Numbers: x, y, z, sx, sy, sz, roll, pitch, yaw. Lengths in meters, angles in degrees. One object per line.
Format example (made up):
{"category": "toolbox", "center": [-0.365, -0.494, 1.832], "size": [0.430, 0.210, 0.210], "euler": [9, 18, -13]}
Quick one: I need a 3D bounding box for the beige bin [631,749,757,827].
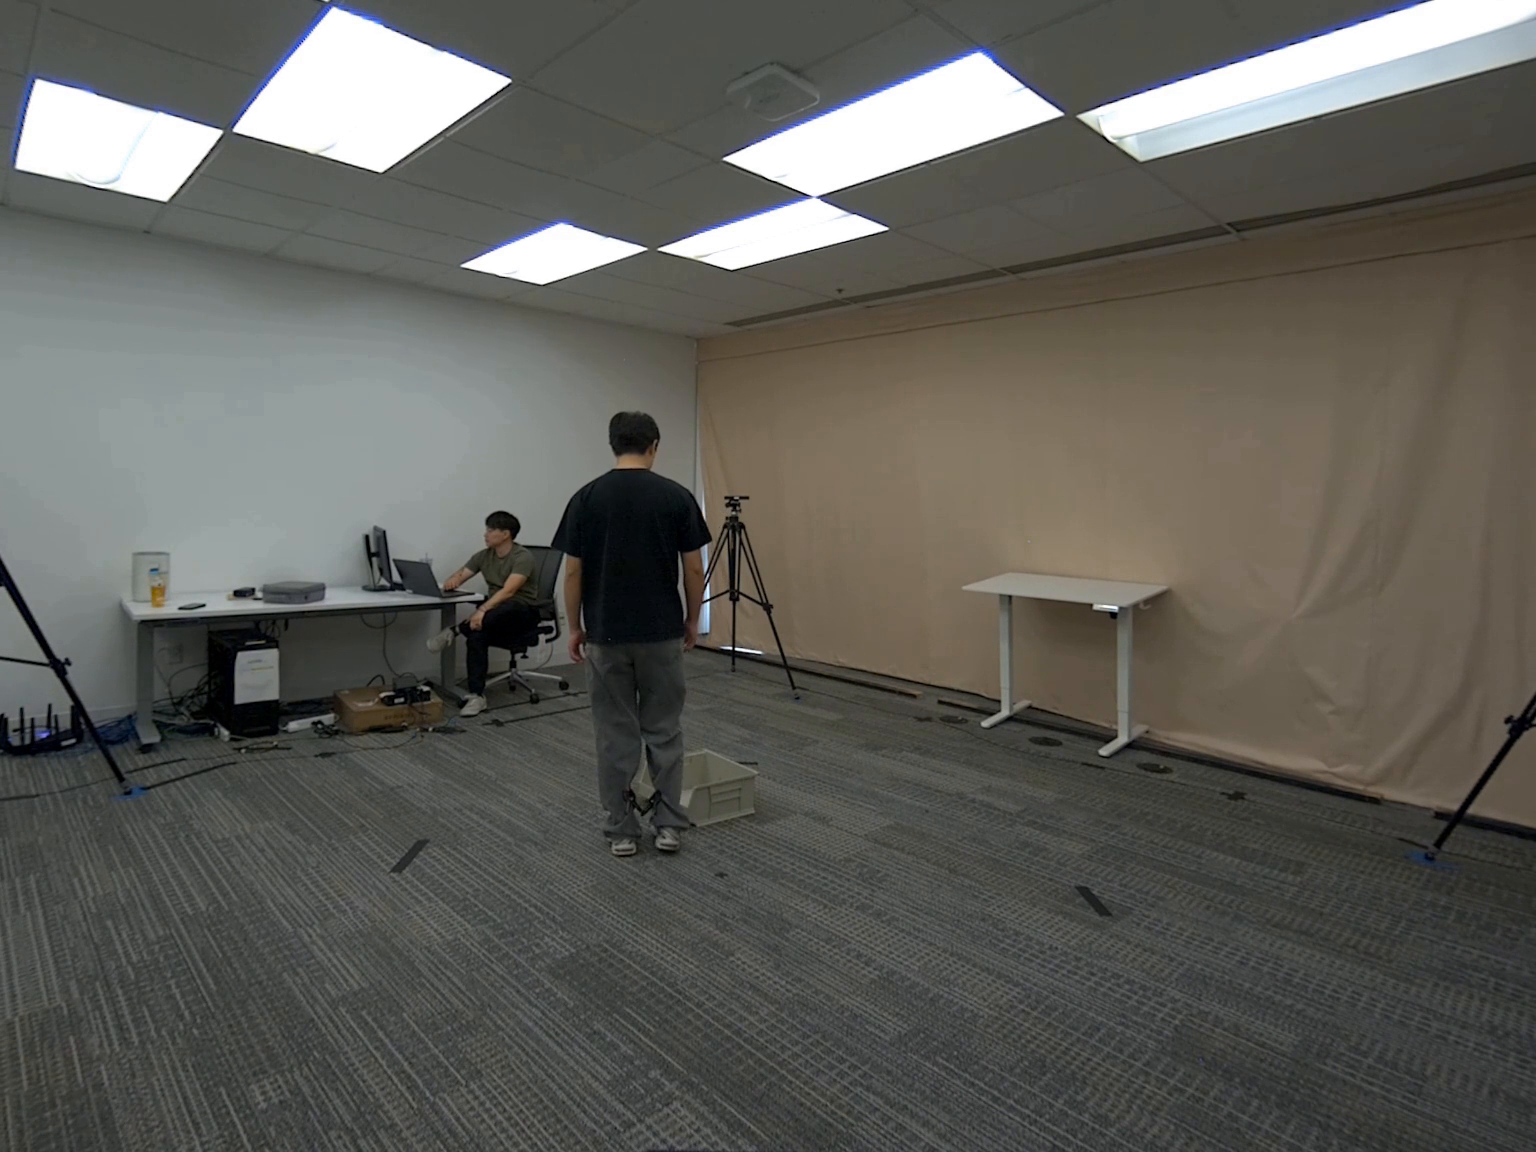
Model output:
{"category": "beige bin", "center": [-0.328, 0.950, 3.795], "size": [0.369, 0.188, 0.433], "euler": [-1, 5, -38]}
